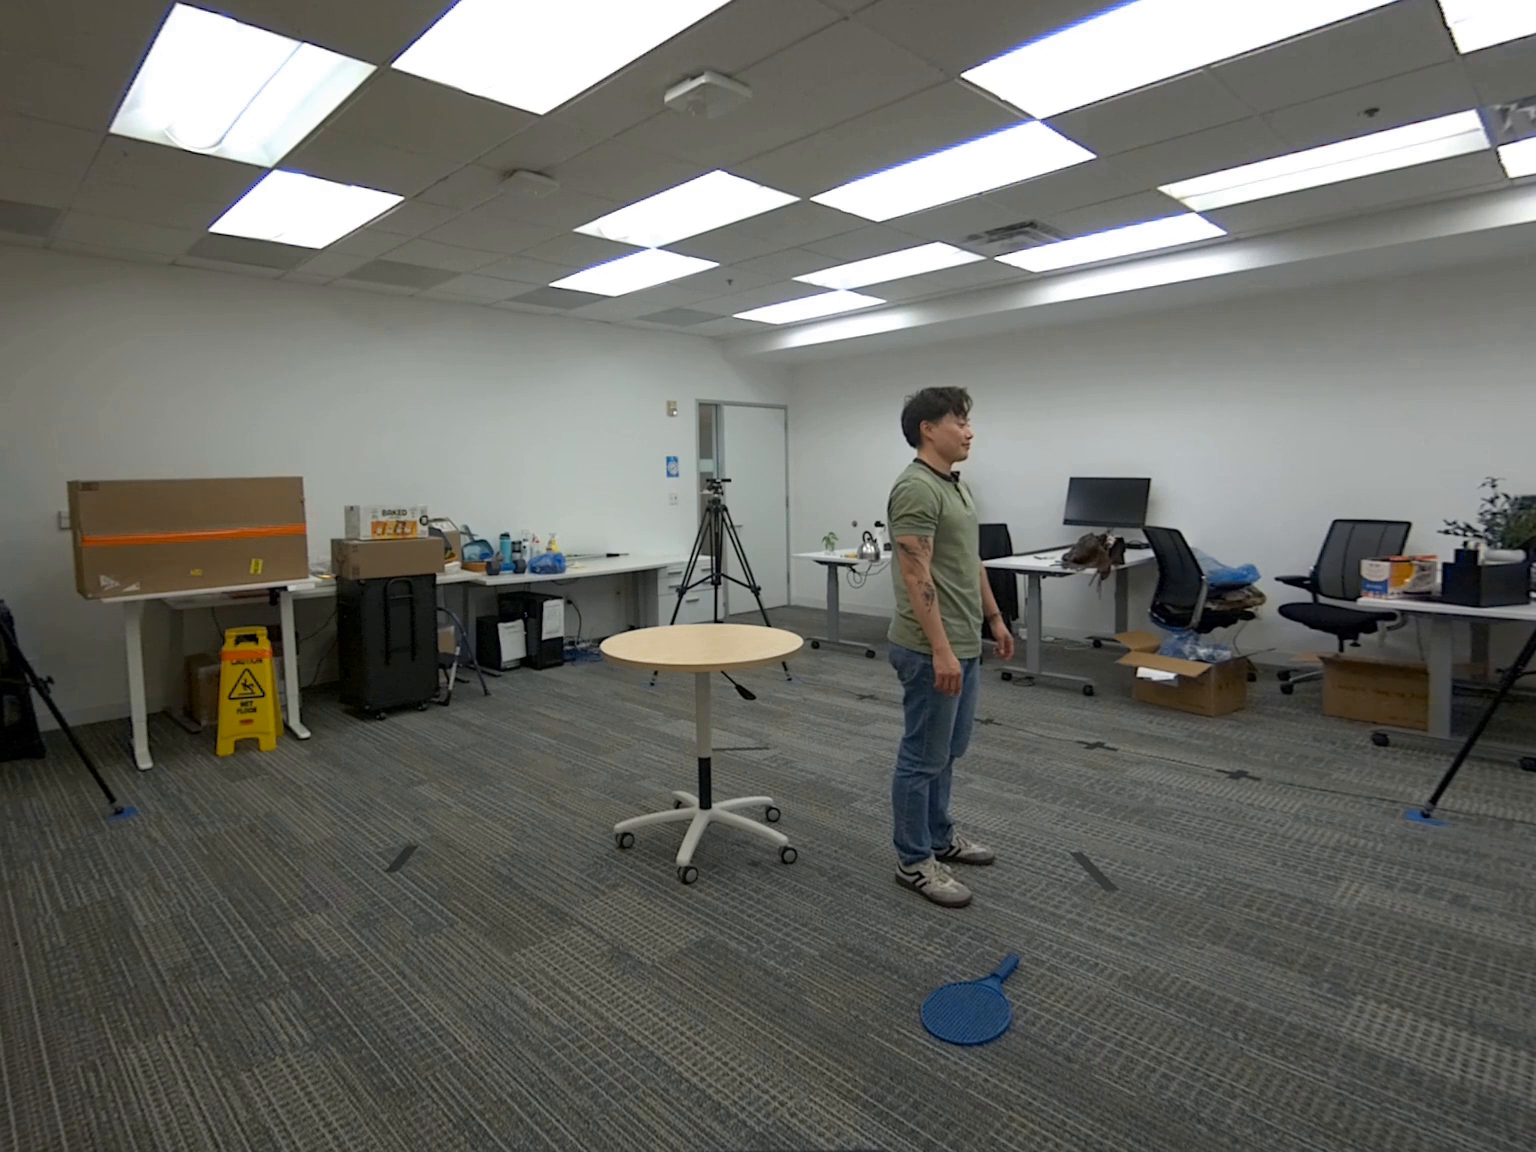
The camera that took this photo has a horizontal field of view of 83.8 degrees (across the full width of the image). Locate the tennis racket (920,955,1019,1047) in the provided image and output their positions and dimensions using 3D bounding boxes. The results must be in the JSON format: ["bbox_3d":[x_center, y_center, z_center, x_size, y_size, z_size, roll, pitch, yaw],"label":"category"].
[{"bbox_3d":[0.571,1.119,2.267,0.220,0.031,0.422,3,9,40],"label":"tennis racket"}]
